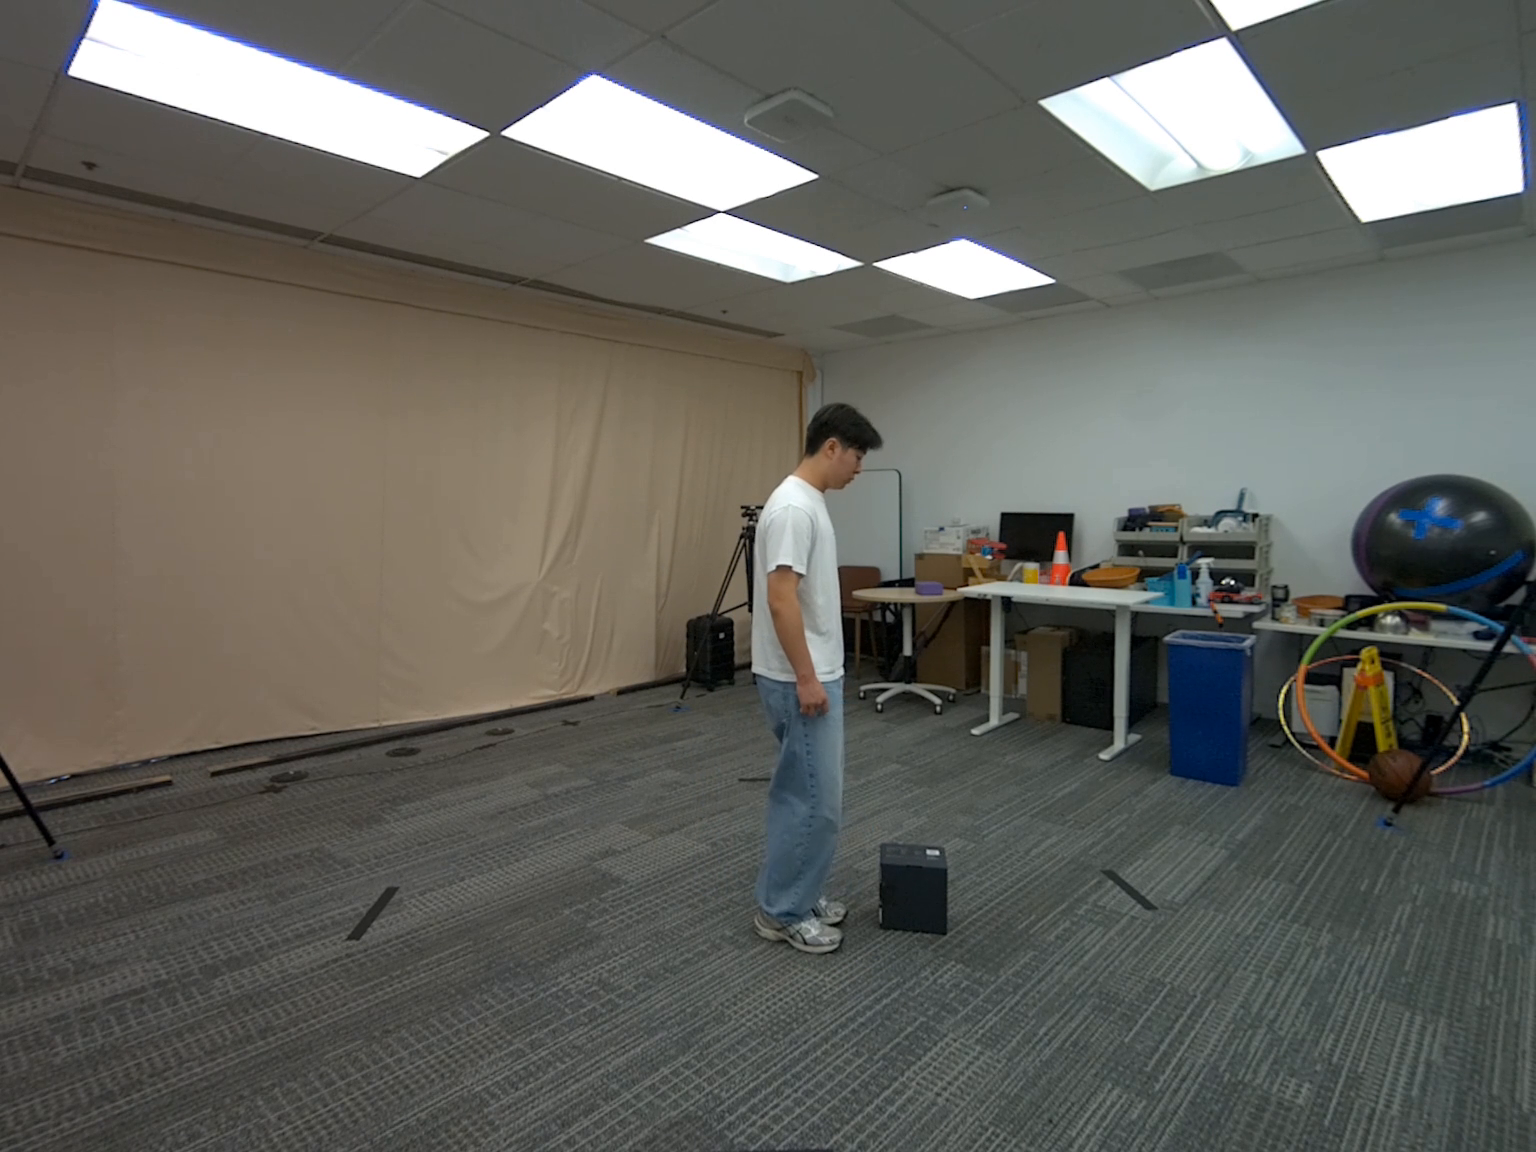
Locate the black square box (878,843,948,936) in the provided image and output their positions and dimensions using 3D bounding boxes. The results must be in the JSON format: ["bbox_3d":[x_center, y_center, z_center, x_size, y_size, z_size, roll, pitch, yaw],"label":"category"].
[{"bbox_3d":[0.488,1.039,2.803,0.219,0.227,0.154,1,4,10],"label":"black square box"}]
